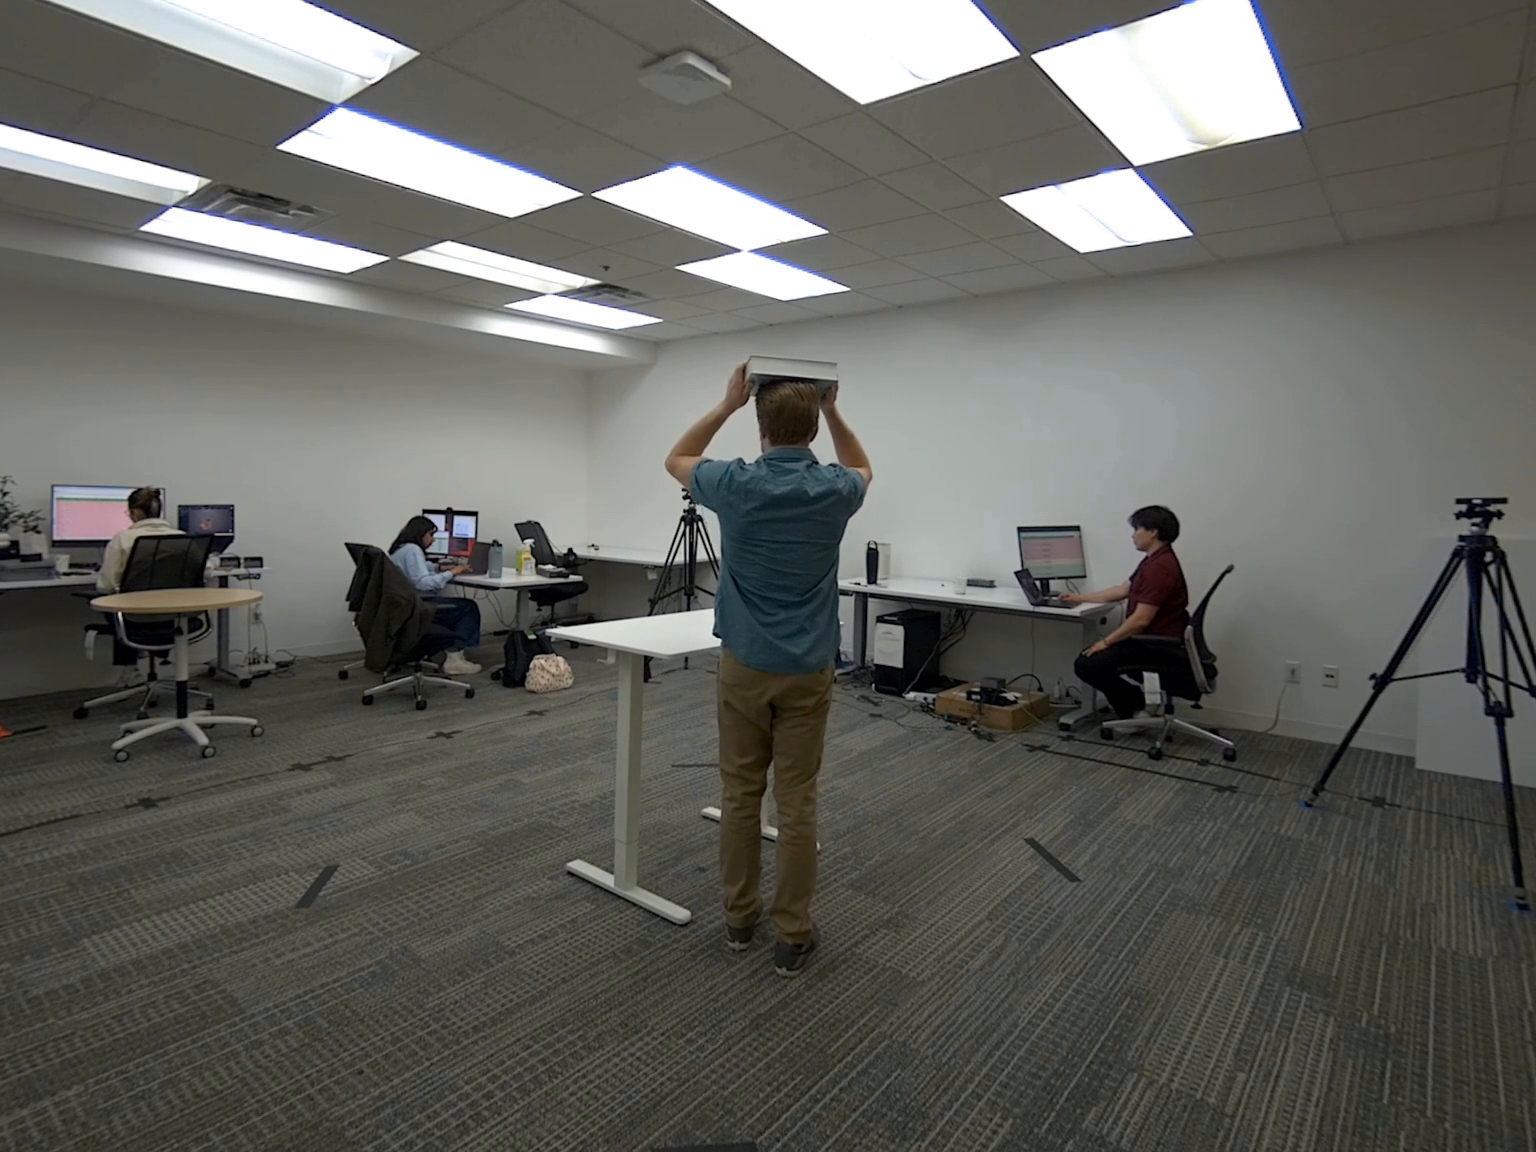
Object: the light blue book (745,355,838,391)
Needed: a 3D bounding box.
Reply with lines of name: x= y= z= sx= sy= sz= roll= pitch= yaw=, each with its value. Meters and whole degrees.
light blue book: x=0.042 y=-0.587 z=2.533 sx=0.258 sy=0.059 sz=0.191 roll=4 pitch=-9 yaw=-9
